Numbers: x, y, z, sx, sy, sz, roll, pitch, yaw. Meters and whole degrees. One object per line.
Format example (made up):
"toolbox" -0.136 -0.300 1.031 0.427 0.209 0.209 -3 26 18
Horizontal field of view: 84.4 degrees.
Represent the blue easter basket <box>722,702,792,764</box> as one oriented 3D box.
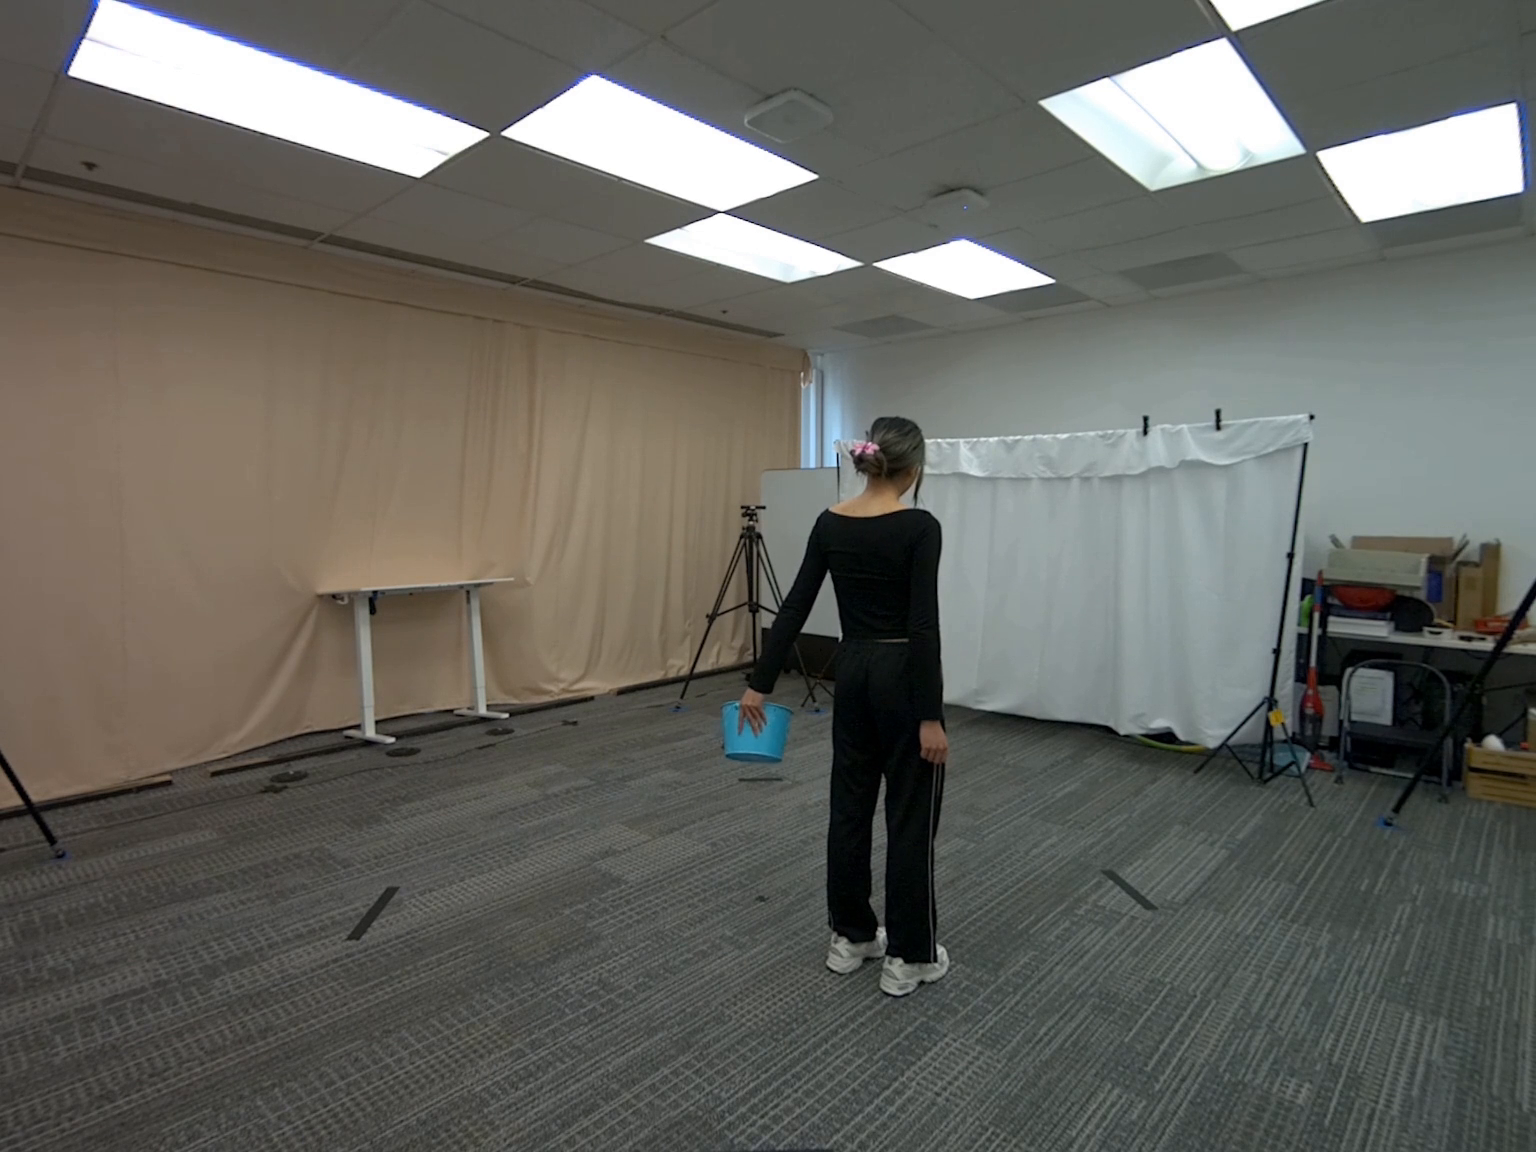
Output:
"blue easter basket" -0.039 0.501 2.648 0.244 0.157 0.241 7 -22 1
